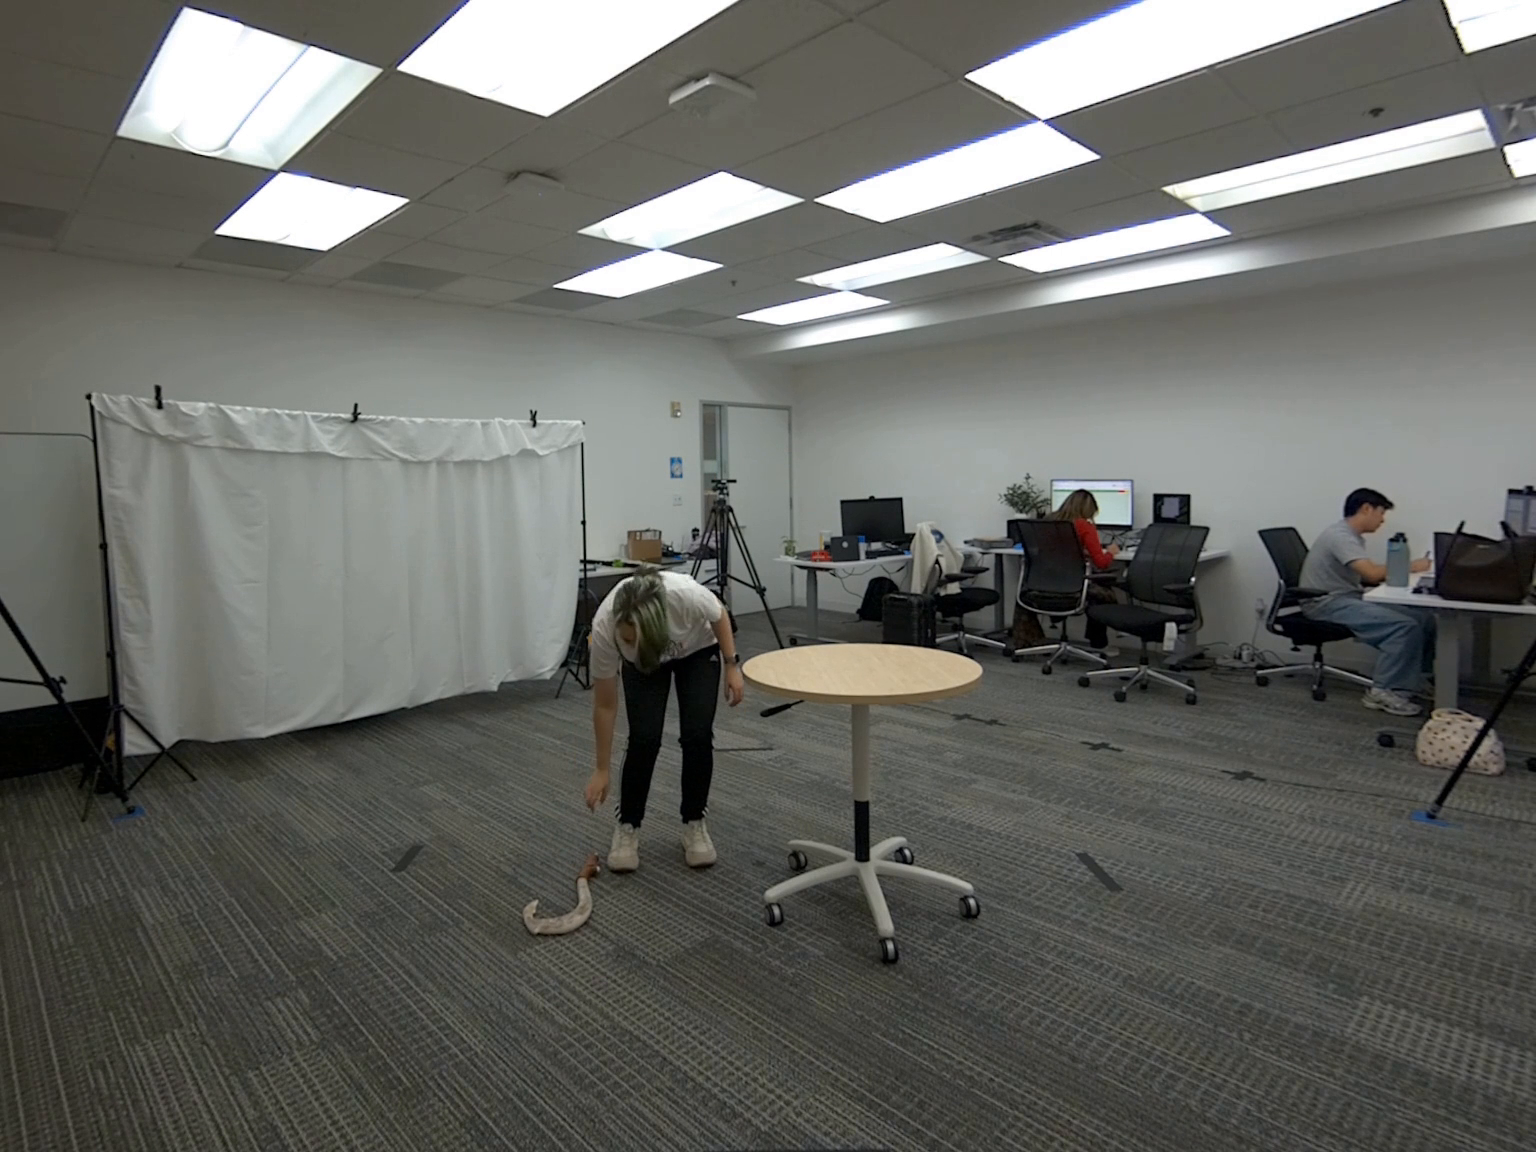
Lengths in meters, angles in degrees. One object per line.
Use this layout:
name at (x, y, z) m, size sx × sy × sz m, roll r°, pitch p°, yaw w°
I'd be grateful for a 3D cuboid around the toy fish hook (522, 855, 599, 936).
toy fish hook at (-0.686, 1.067, 2.885) m, size 0.224 × 0.048 × 0.509 m, roll 0°, pitch 6°, yaw -2°
